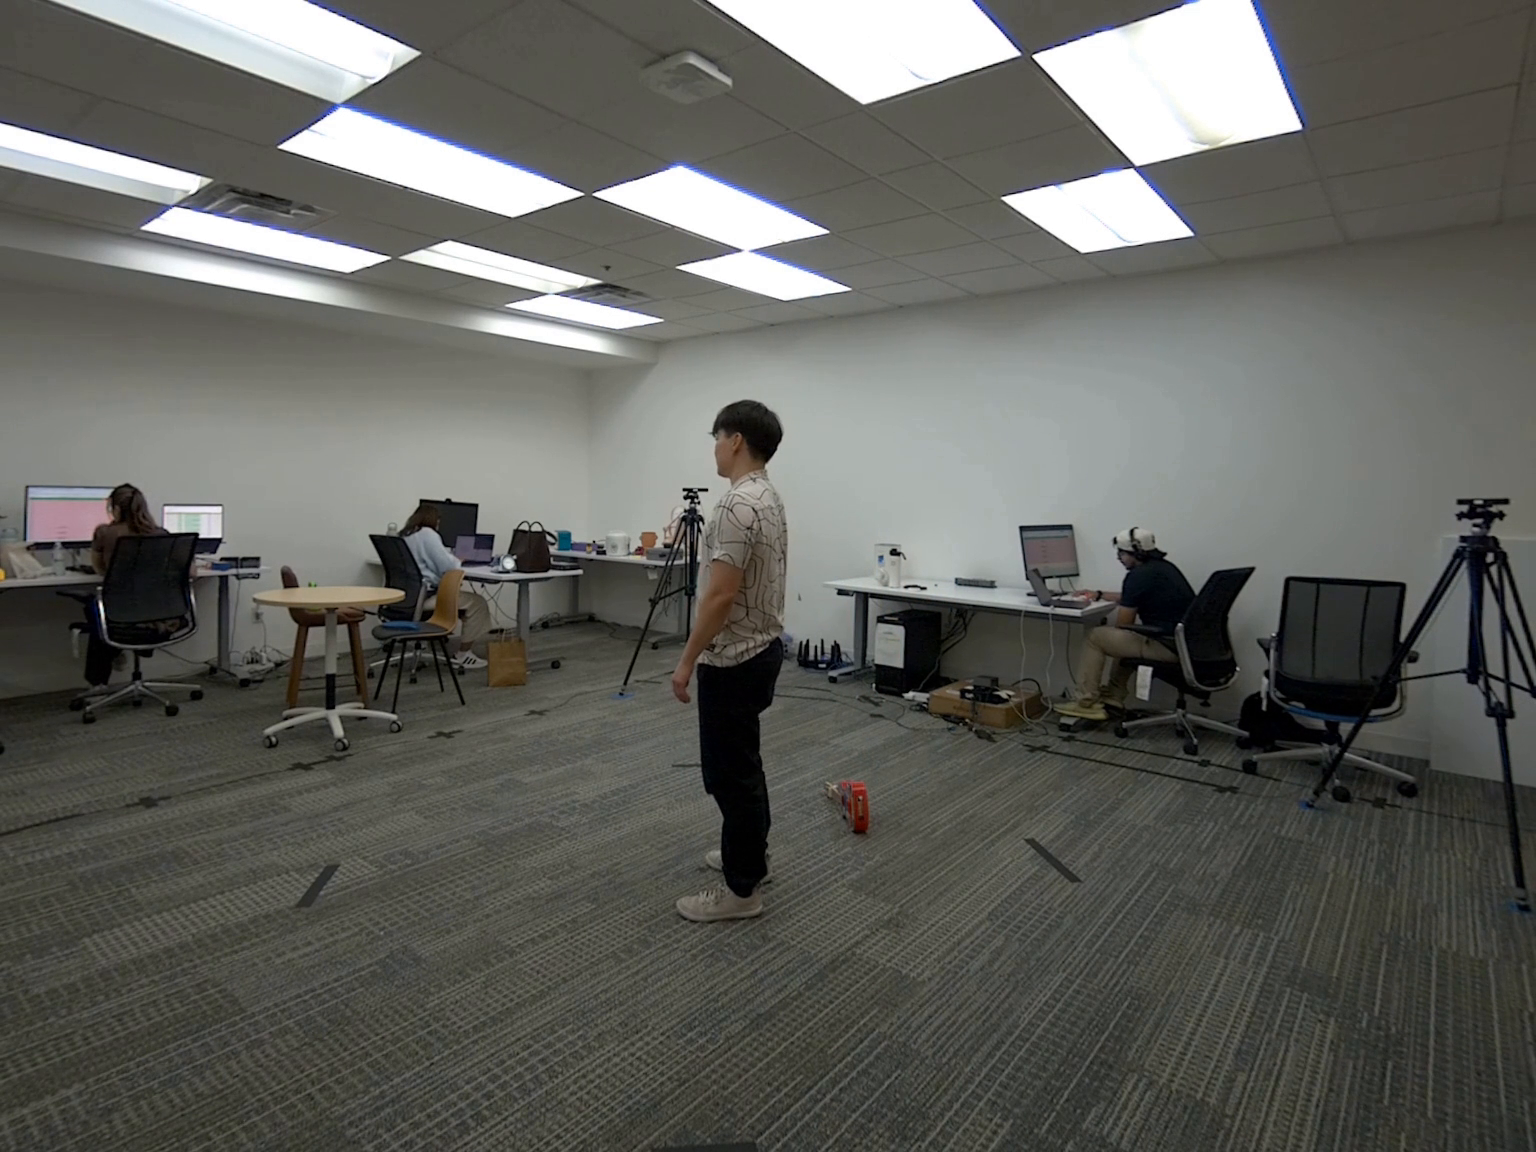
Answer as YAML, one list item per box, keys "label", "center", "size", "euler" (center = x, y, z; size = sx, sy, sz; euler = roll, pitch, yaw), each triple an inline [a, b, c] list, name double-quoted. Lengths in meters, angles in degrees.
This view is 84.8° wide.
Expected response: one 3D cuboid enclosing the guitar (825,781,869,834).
- label: "guitar"
  center: [0.323, 0.934, 3.693]
  size: [0.070, 0.192, 0.504]
  euler: [-4, 6, -11]
